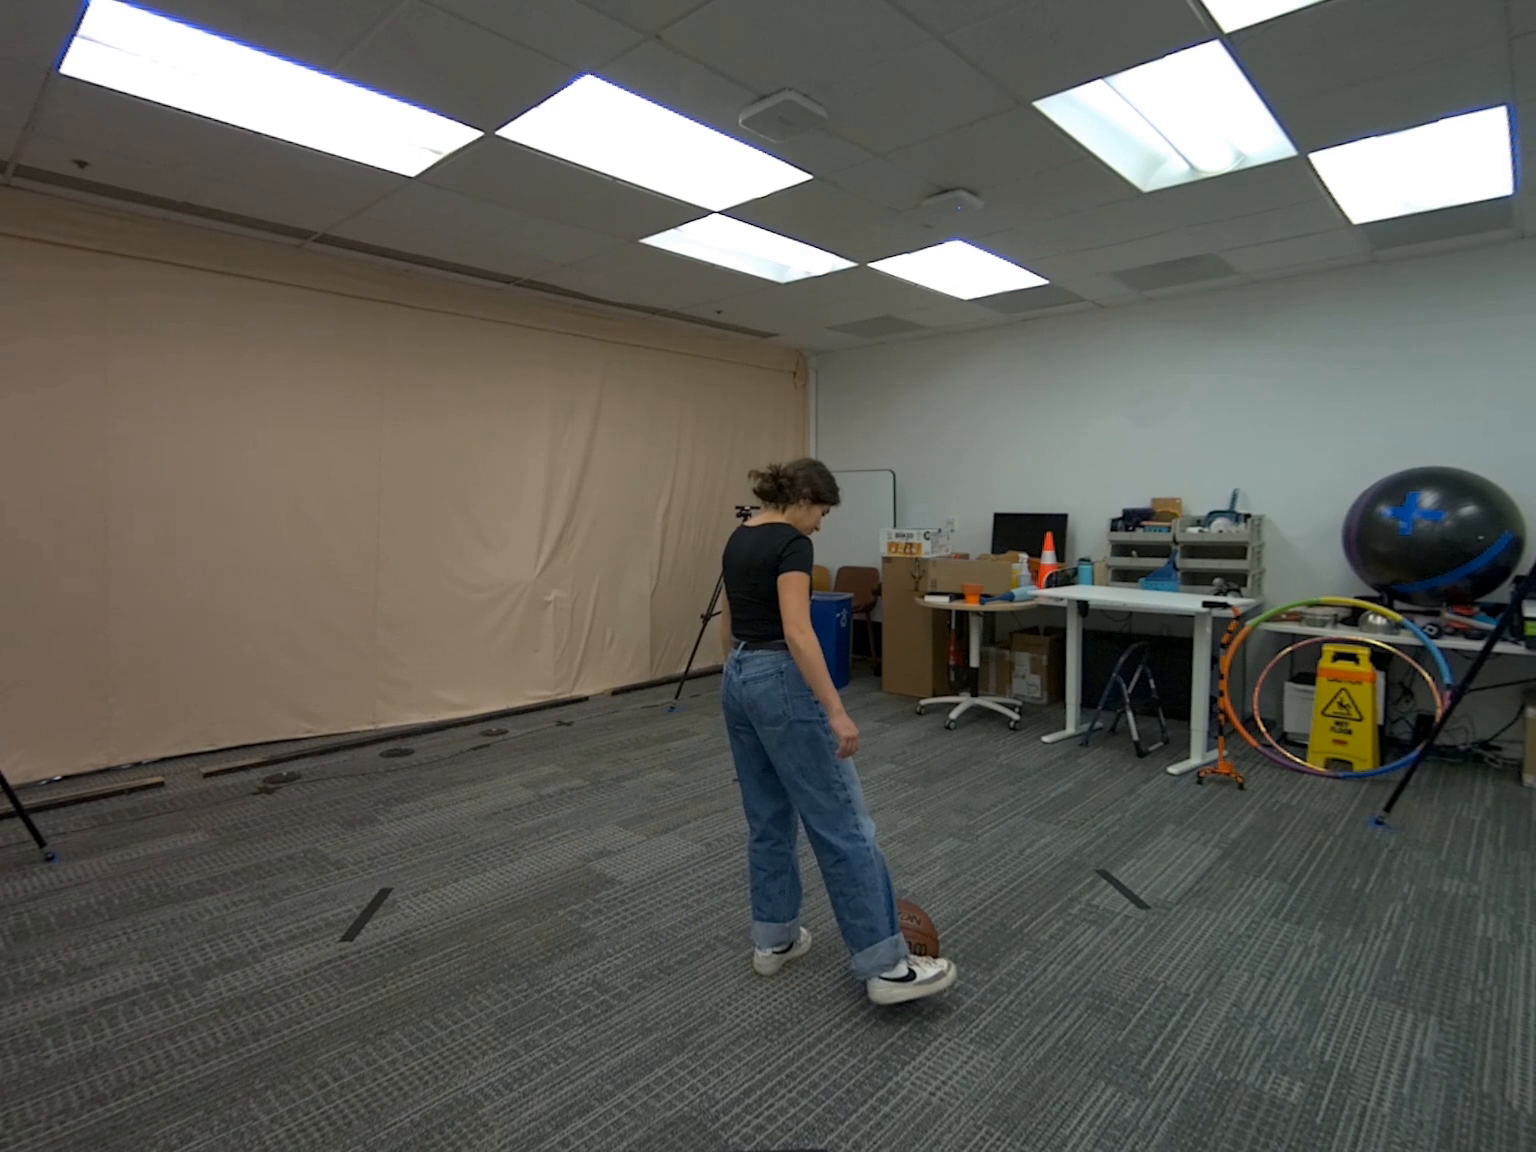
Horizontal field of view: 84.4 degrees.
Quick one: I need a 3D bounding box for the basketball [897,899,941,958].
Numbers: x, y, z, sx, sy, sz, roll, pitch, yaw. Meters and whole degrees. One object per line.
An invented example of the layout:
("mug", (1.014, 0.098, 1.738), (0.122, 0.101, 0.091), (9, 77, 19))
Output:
("basketball", (0.388, 1.066, 2.460), (0.236, 0.235, 0.237), (0, 4, -2))
